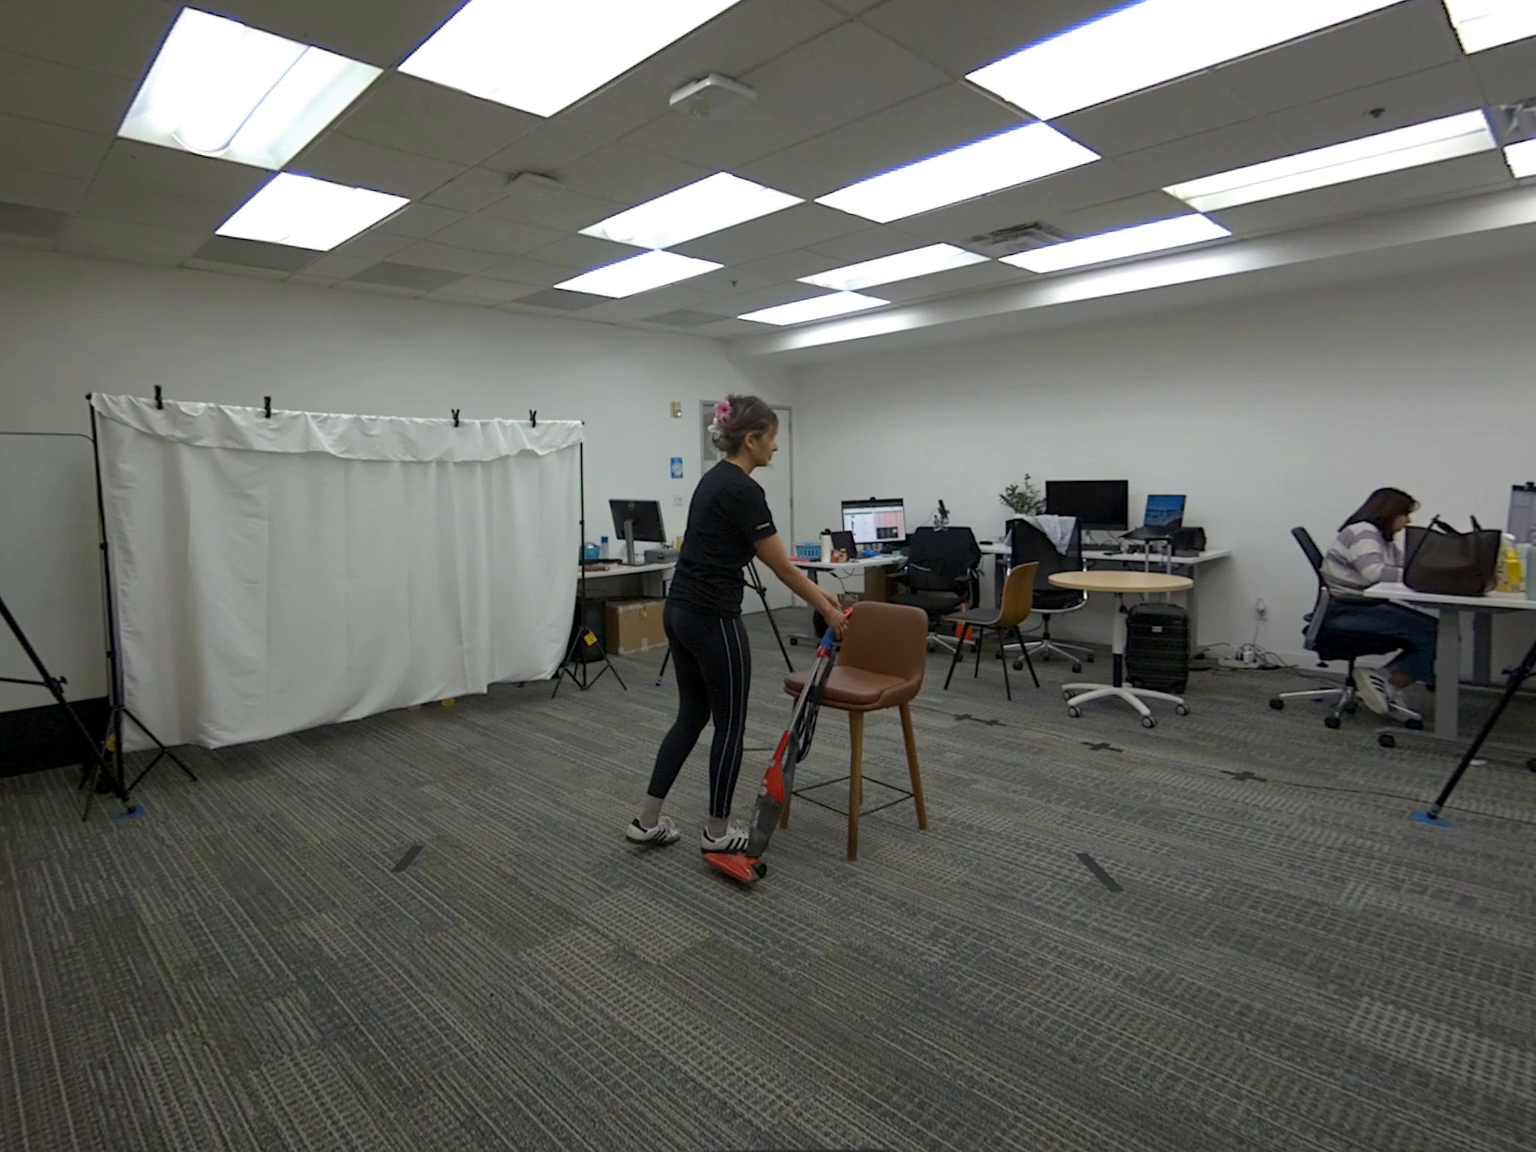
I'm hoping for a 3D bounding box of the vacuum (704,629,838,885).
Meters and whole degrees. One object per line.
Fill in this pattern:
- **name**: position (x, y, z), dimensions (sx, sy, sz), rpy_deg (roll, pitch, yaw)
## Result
- **vacuum**: position (0.116, 0.594, 3.161), dimensions (0.261, 1.056, 0.138), rpy_deg (7, -26, 44)
